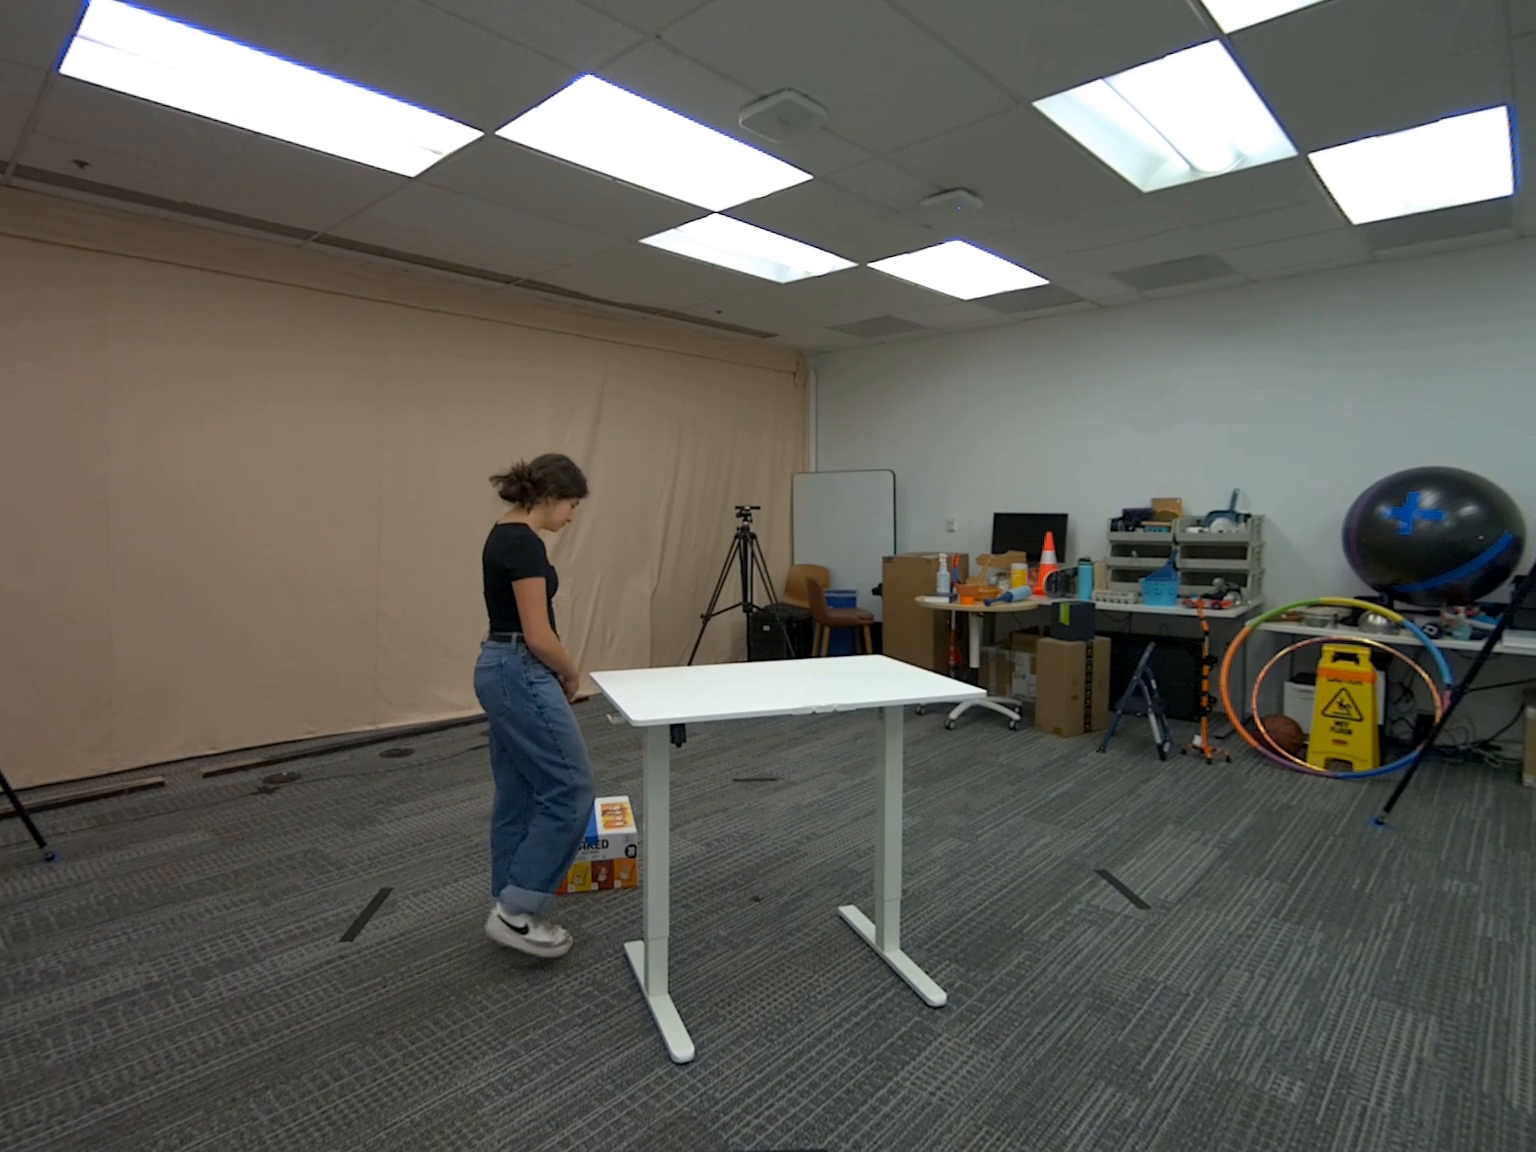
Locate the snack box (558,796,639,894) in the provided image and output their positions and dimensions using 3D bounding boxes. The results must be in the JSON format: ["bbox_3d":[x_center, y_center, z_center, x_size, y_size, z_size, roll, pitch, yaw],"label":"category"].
[{"bbox_3d":[-0.694,1.028,3.244,0.336,0.205,0.411,-1,4,-13],"label":"snack box"}]
